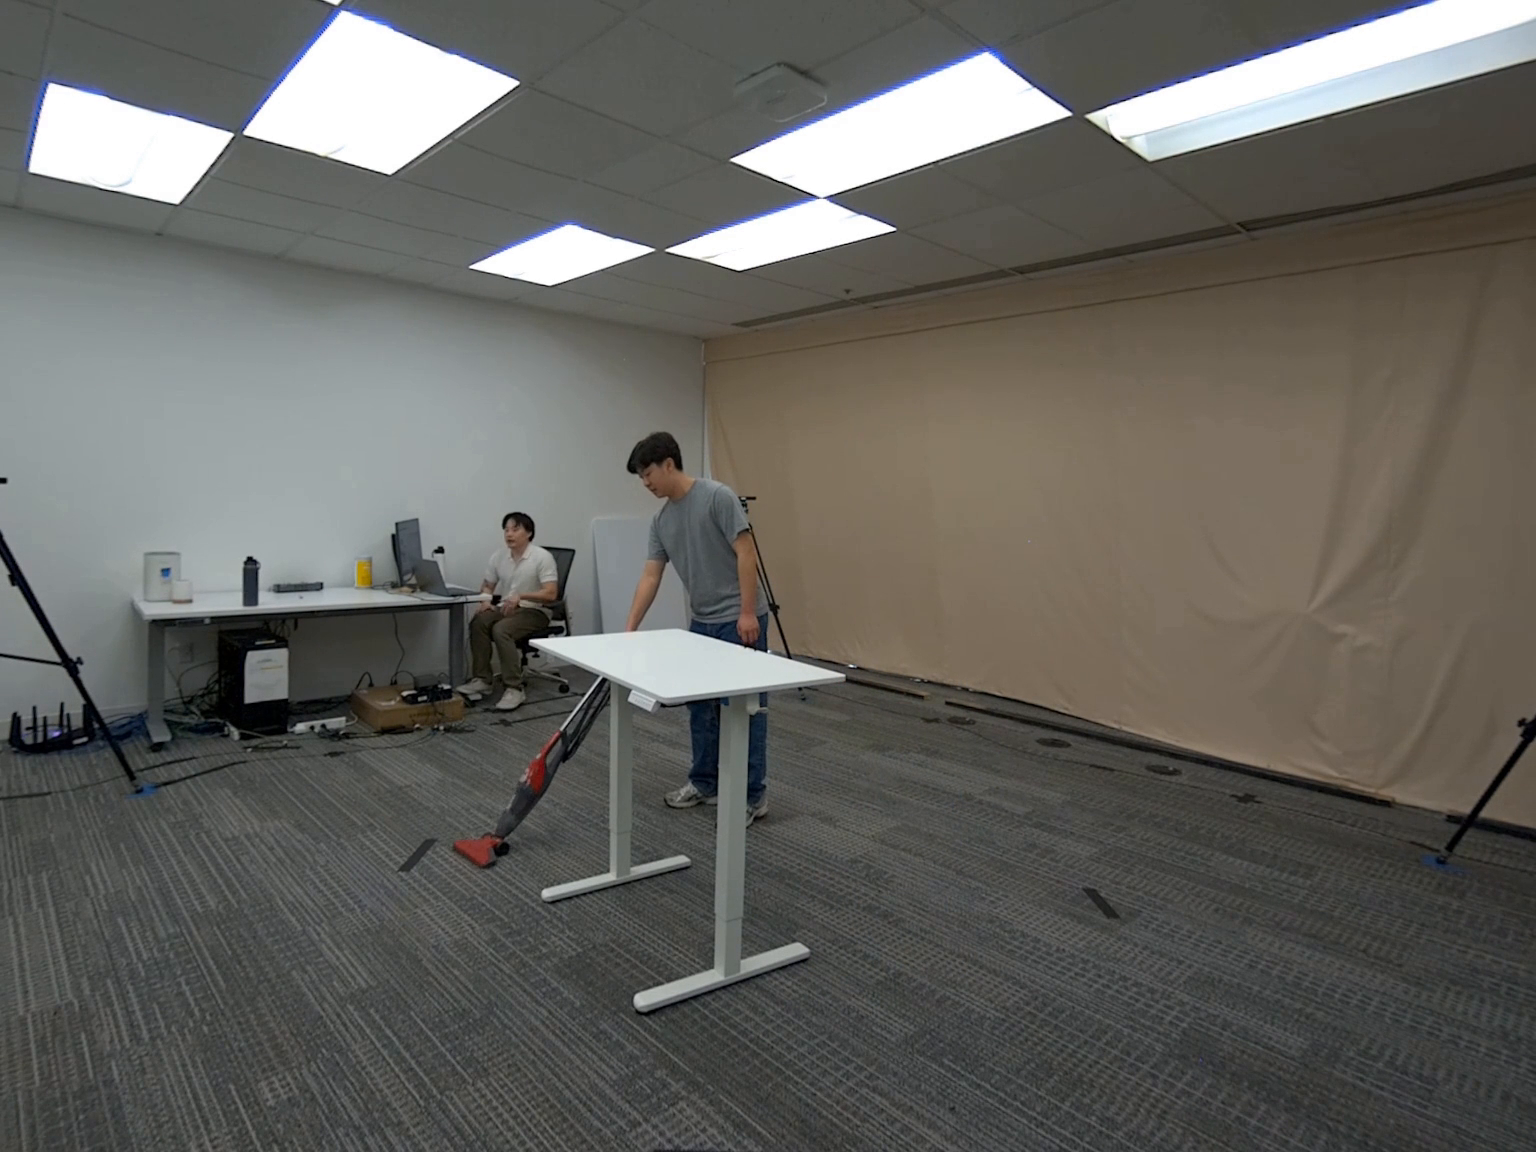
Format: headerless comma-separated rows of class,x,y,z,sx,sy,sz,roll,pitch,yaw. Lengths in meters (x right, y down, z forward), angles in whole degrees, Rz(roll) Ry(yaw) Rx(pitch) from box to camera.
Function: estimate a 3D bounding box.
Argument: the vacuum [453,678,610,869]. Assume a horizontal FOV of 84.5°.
vacuum,-0.833,0.673,3.486,0.259,1.053,0.140,9,-37,39
